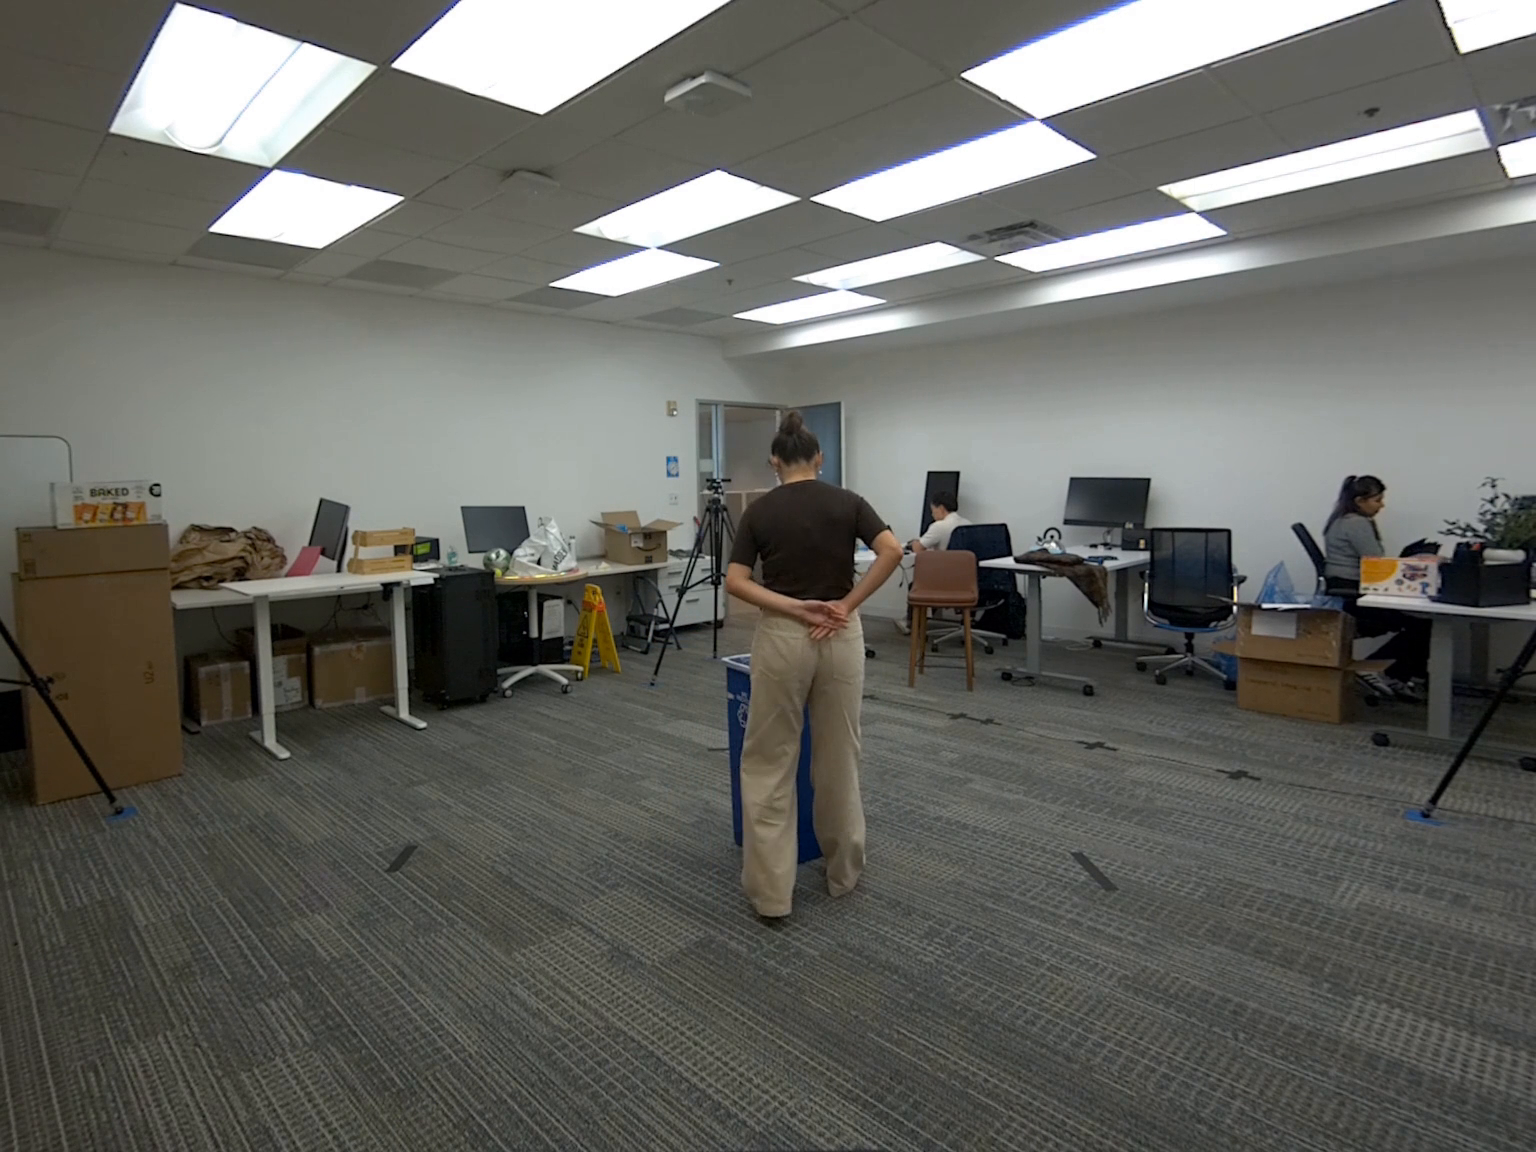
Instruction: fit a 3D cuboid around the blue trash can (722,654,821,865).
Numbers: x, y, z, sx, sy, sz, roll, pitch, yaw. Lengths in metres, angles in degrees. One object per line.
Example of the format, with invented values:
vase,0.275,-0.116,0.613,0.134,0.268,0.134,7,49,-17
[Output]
blue trash can,0.071,0.672,3.221,0.365,0.711,0.389,-3,5,-34
